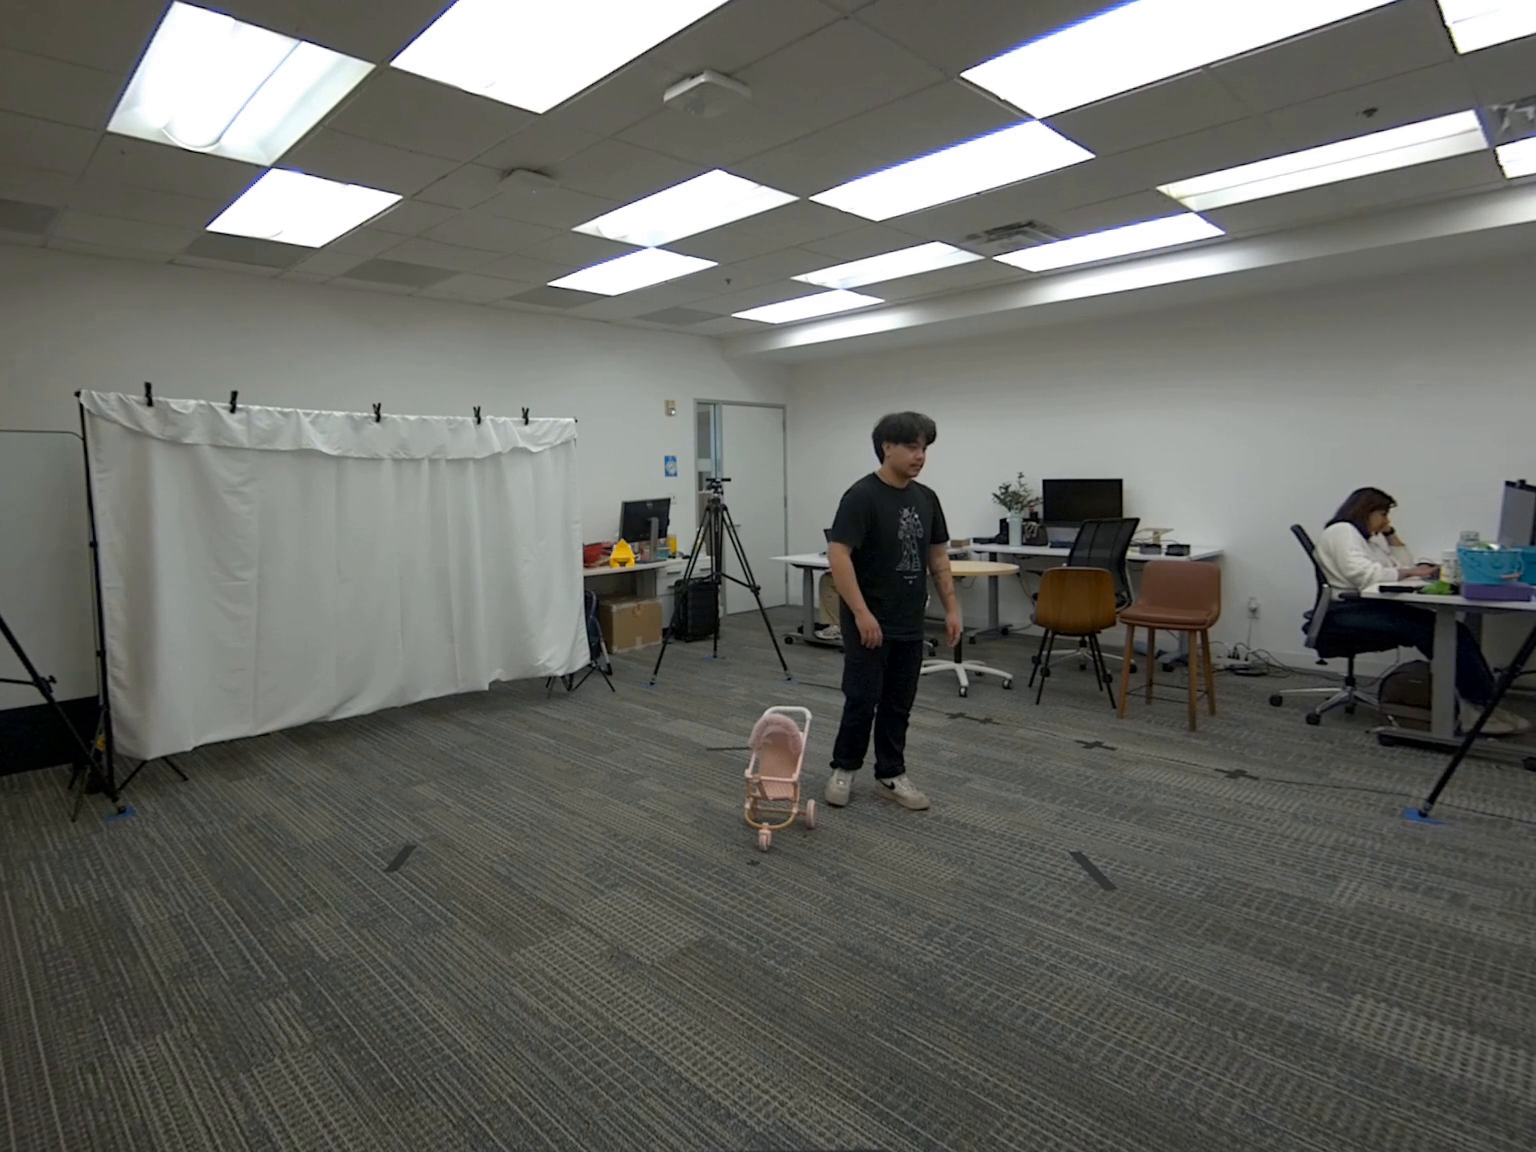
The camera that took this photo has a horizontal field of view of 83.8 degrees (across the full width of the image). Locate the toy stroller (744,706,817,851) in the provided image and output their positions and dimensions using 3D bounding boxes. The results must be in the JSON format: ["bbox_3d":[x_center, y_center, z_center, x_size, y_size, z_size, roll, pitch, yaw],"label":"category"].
[{"bbox_3d":[0.030,0.785,3.378,0.287,0.540,0.332,0,-11,21],"label":"toy stroller"}]
